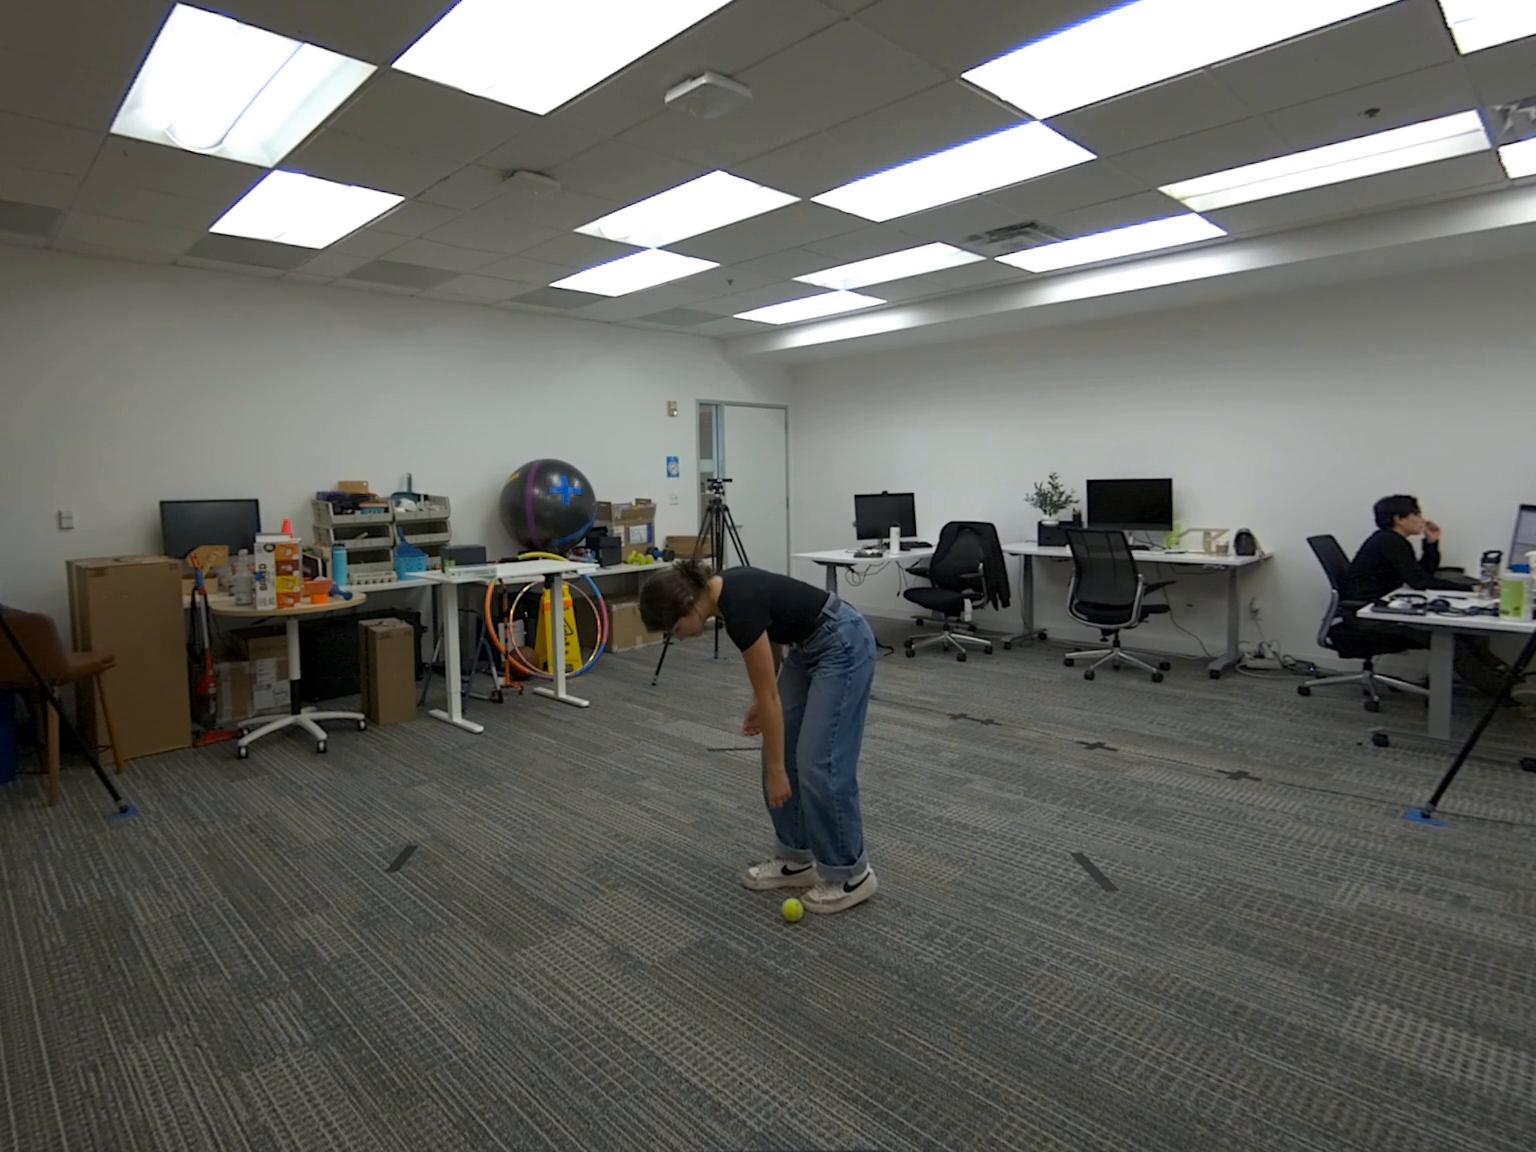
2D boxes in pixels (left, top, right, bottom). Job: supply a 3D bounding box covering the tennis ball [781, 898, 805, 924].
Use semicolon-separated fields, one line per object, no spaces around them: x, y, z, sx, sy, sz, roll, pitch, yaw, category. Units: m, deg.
0.093;1.050;2.704;0.066;0.066;0.067;-1;5;-2;tennis ball
